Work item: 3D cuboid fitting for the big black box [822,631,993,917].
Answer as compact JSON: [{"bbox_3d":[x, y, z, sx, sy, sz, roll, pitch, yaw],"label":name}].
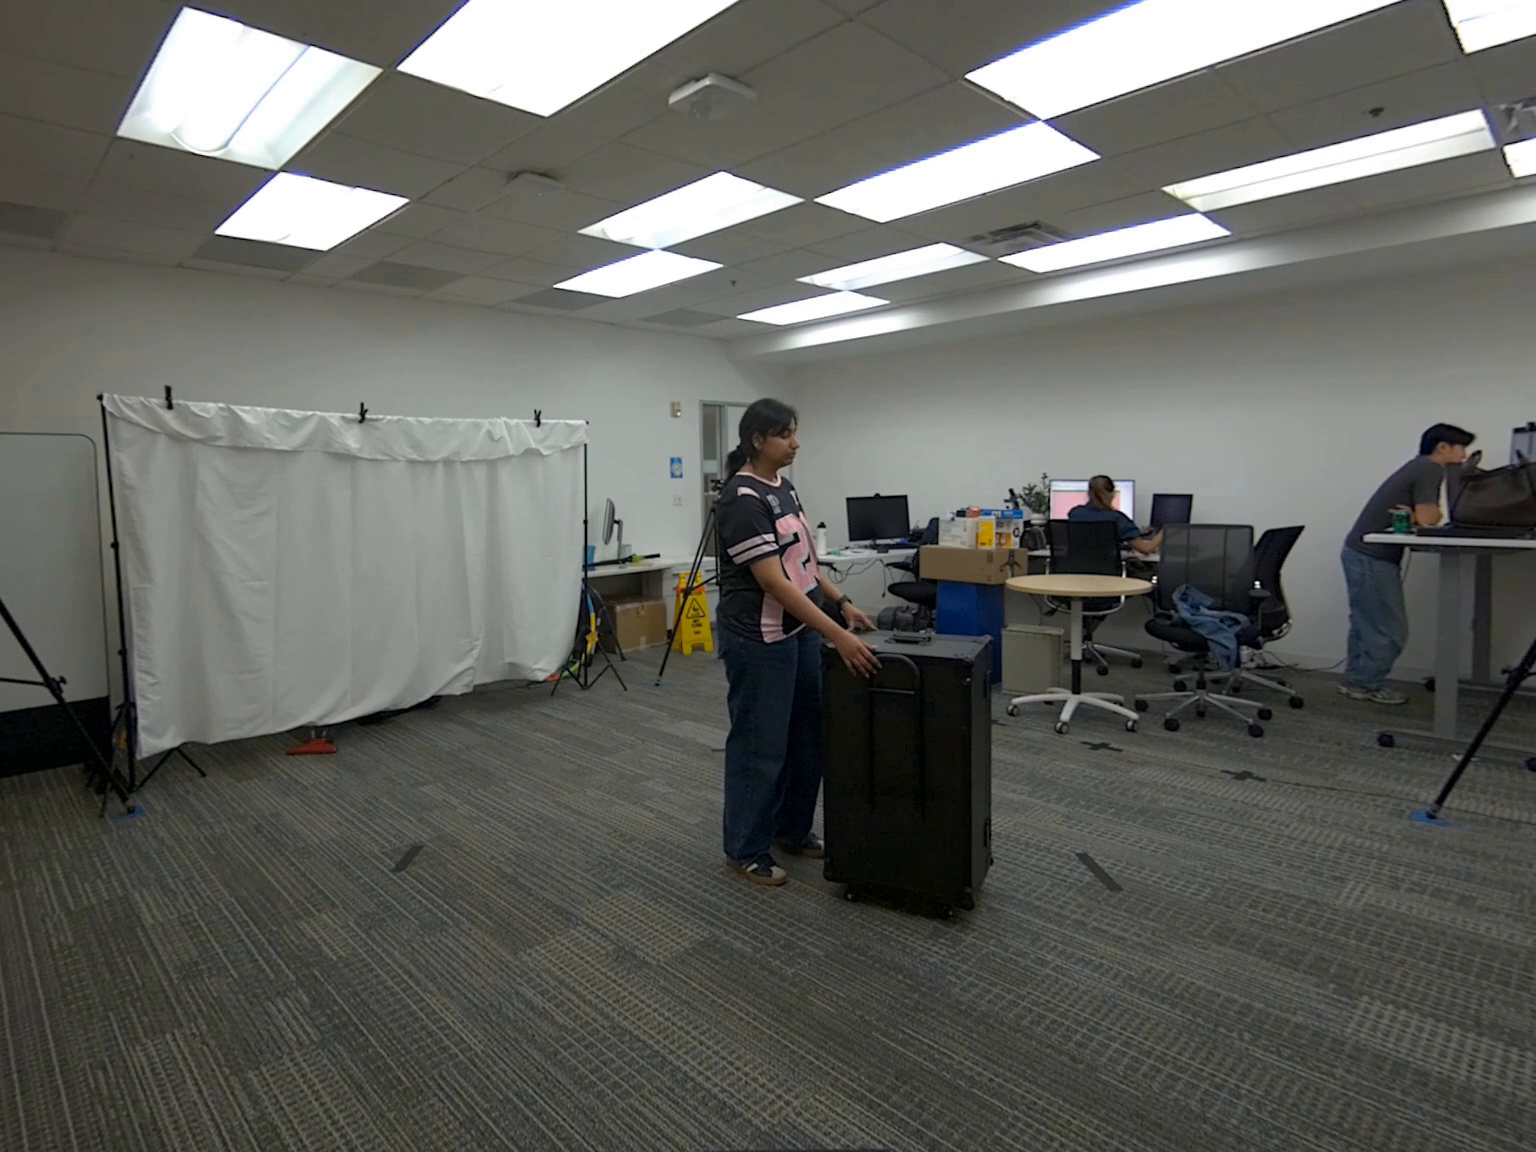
[{"bbox_3d":[0.479,0.650,2.833,0.535,0.865,0.378,1,5,25],"label":"big black box"}]
